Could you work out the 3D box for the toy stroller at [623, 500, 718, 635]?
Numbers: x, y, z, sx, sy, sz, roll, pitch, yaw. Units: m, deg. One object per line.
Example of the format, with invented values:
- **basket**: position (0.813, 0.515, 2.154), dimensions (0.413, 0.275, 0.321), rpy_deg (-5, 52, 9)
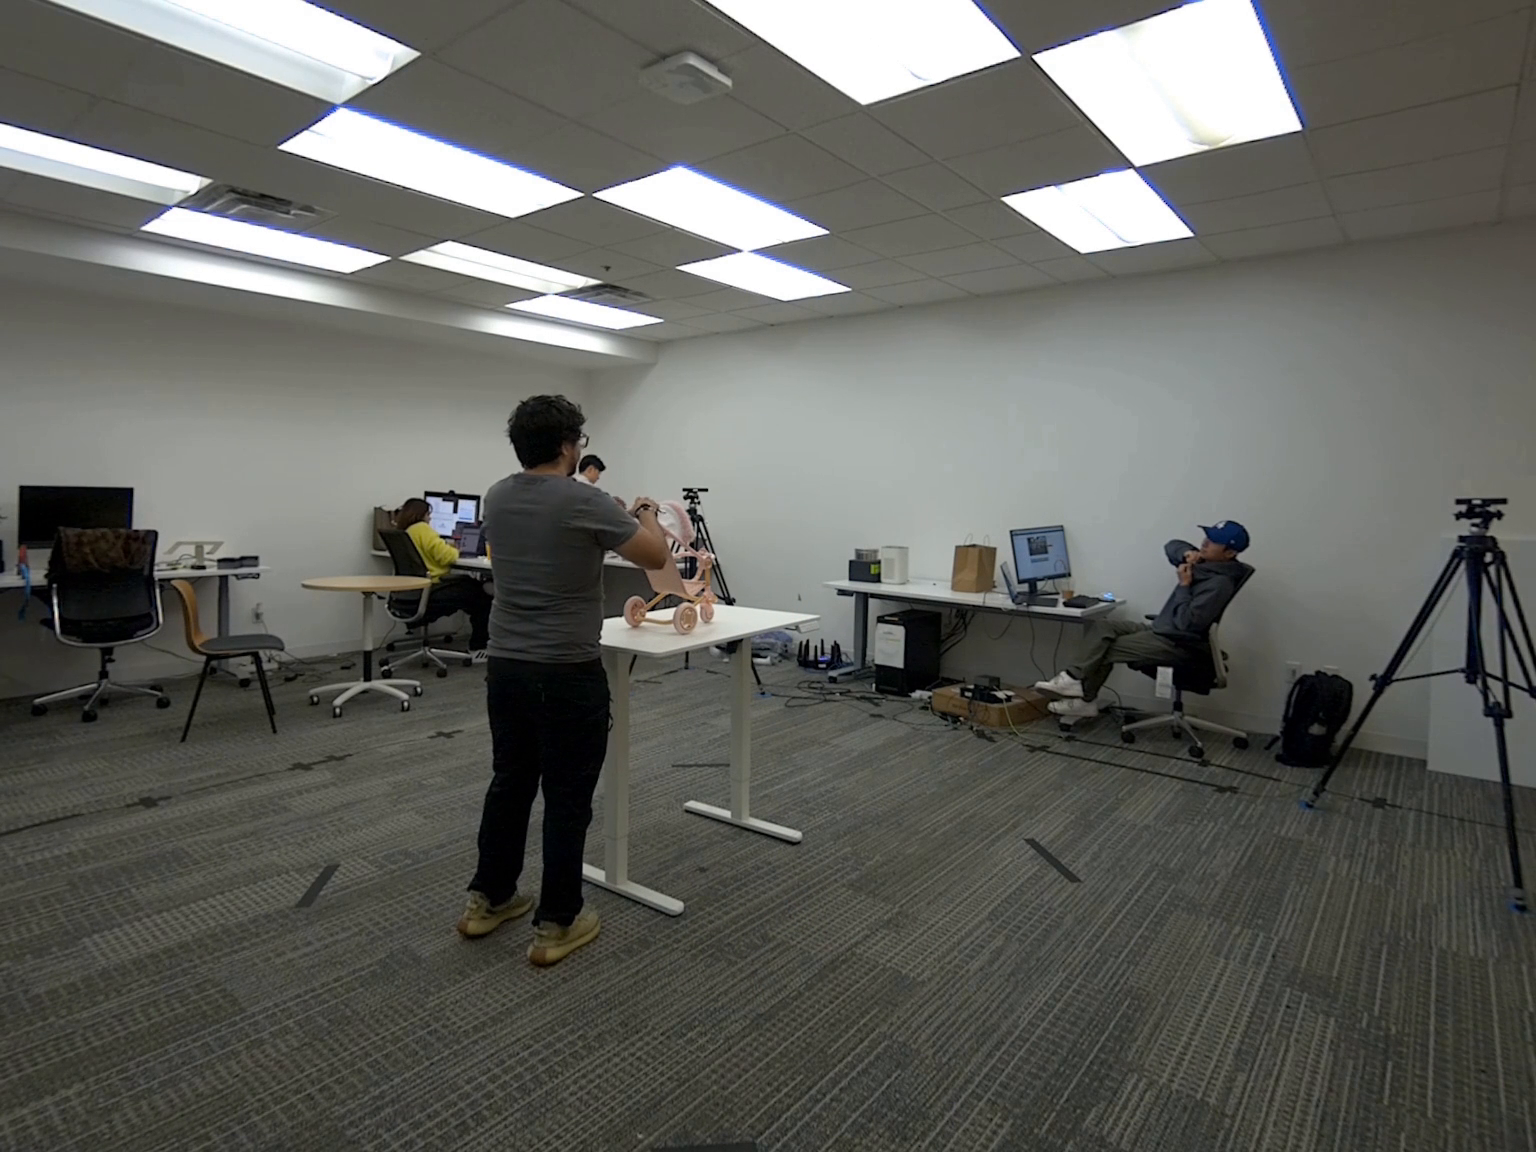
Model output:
- **toy stroller**: position (-0.356, -0.034, 3.069), dimensions (0.291, 0.526, 0.335), rpy_deg (4, 20, 42)
